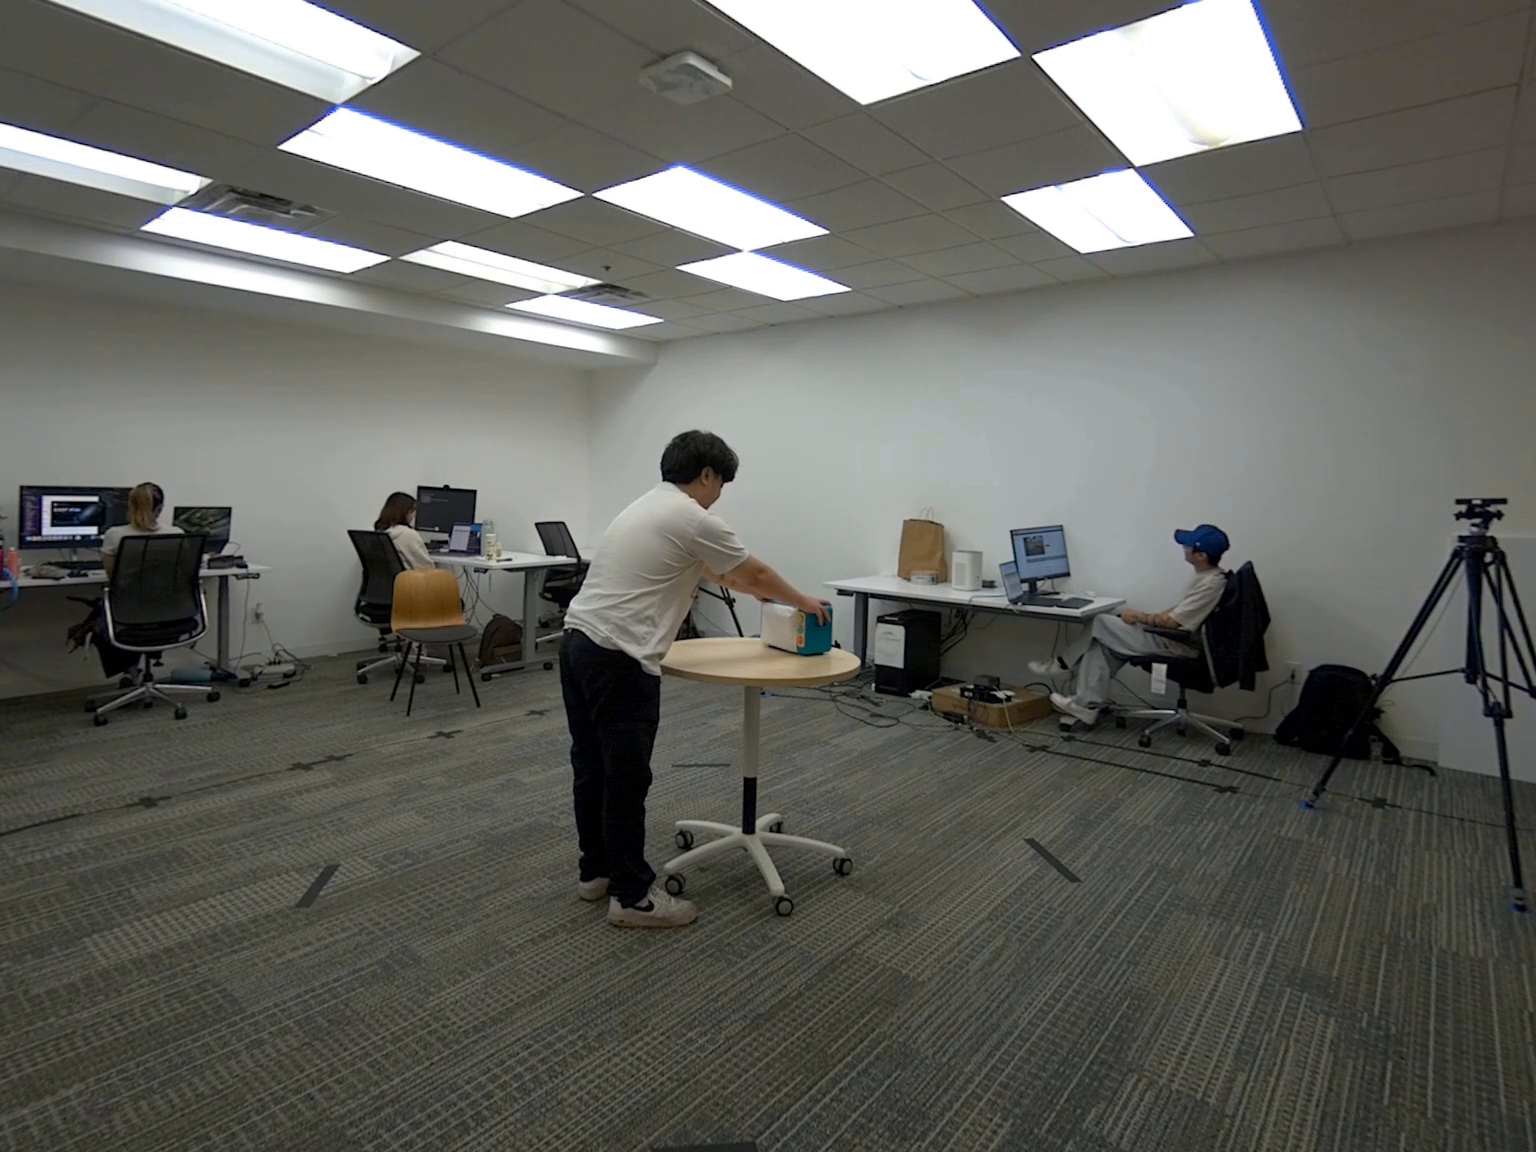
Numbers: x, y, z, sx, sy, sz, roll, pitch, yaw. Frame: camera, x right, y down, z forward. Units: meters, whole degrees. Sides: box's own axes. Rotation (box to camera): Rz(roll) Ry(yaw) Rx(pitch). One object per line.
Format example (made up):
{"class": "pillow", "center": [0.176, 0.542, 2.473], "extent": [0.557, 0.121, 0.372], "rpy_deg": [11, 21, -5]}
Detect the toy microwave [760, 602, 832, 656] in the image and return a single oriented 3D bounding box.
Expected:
{"class": "toy microwave", "center": [0.089, 0.185, 3.207], "extent": [0.148, 0.183, 0.296], "rpy_deg": [-2, 6, -36]}
